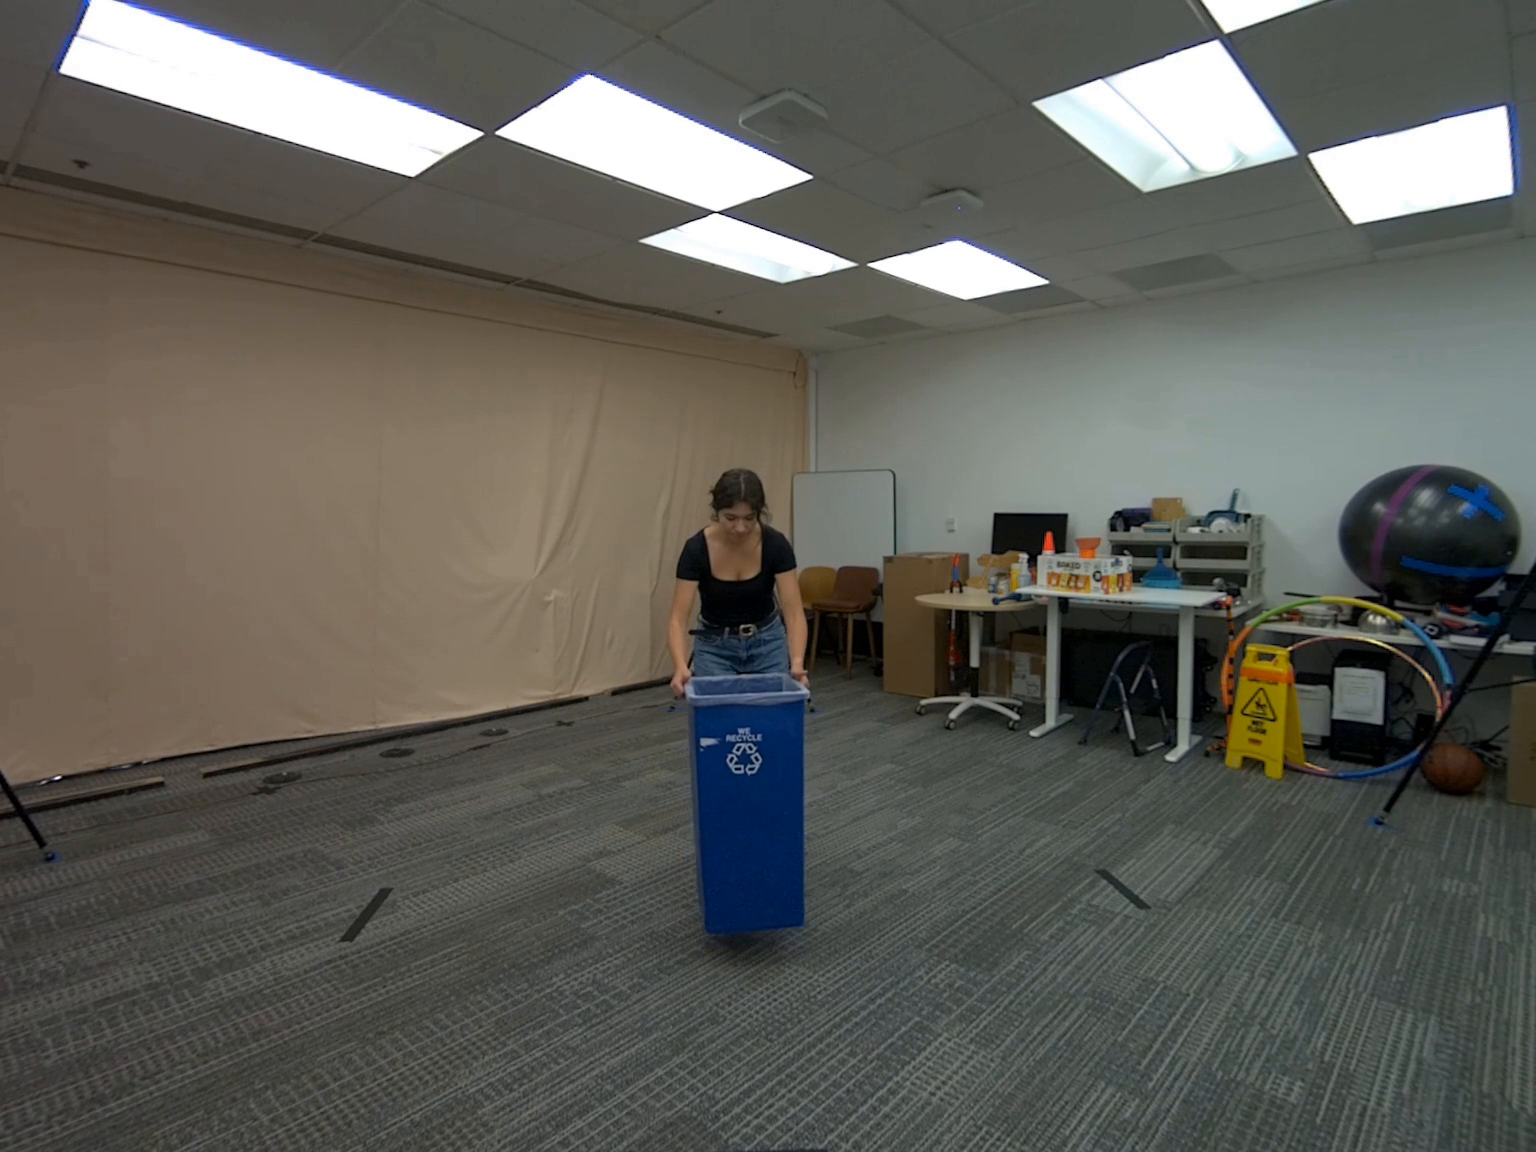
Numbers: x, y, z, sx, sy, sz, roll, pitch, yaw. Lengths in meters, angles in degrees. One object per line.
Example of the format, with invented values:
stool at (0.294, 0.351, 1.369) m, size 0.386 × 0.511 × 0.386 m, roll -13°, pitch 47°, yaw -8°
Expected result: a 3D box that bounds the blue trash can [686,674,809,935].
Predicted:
blue trash can at (-0.062, 0.701, 2.661) m, size 0.371 × 0.713 × 0.381 m, roll -3°, pitch 1°, yaw -8°
